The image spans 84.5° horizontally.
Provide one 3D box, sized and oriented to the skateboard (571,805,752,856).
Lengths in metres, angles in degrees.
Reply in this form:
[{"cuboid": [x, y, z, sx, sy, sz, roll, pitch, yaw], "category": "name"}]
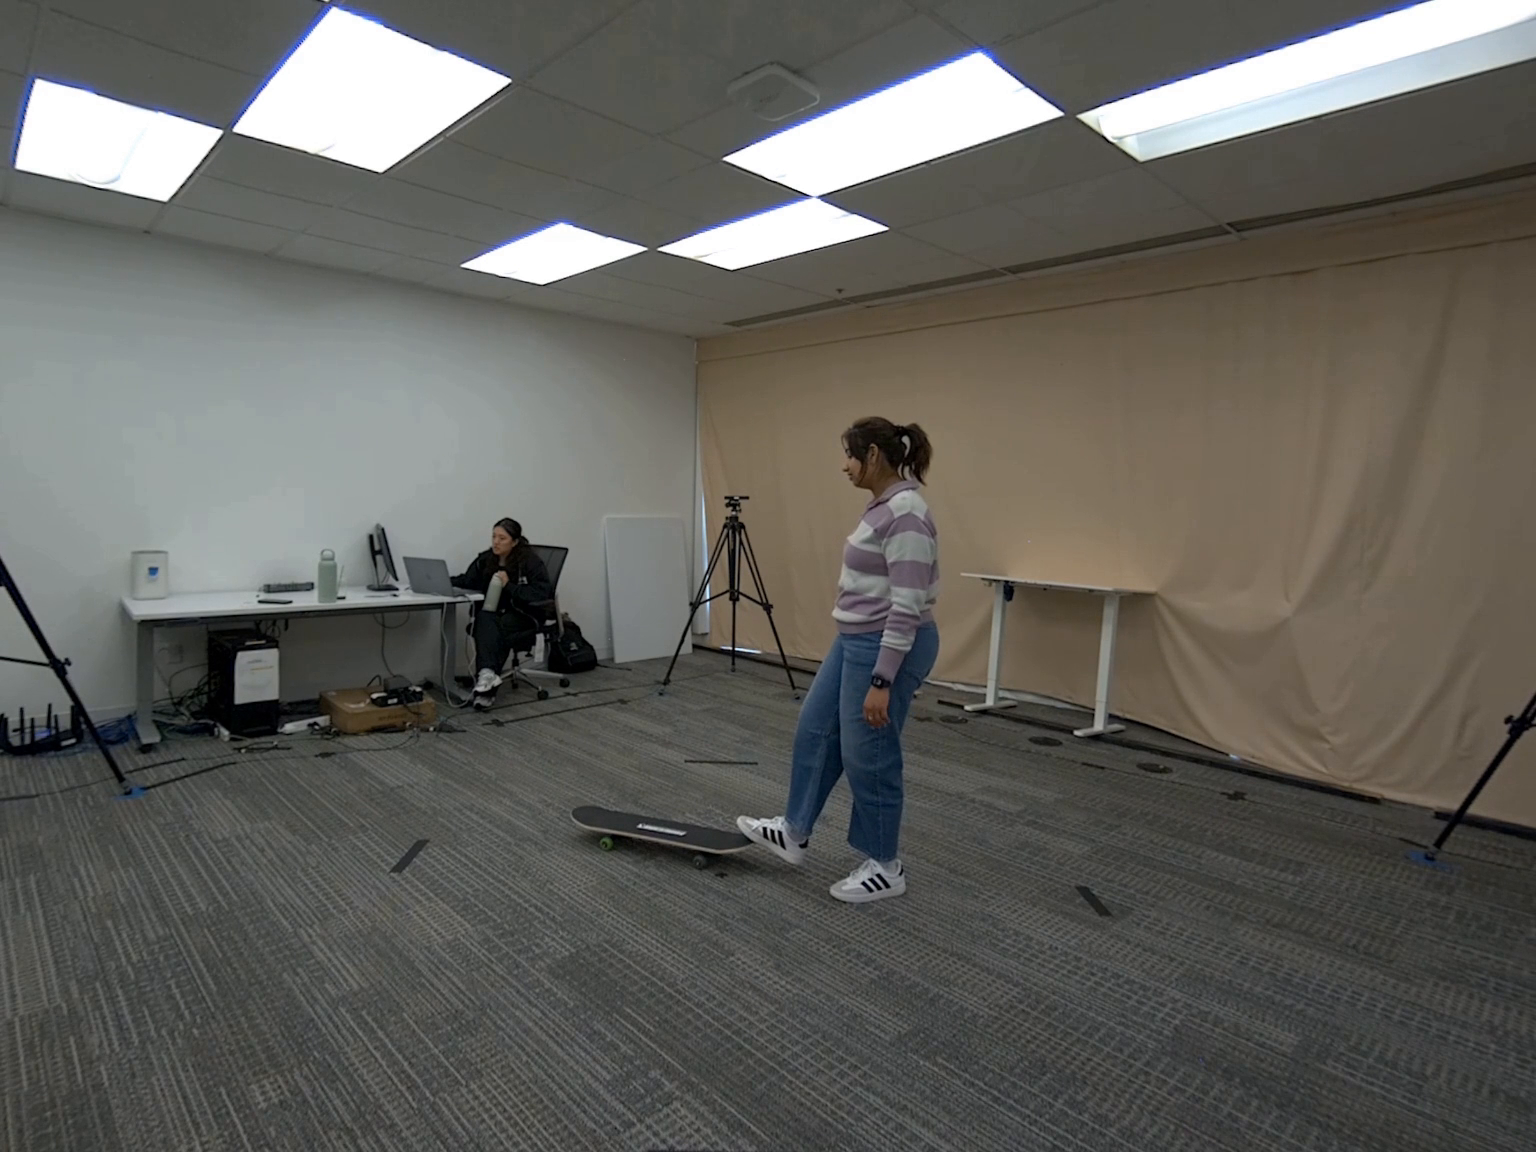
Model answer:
[{"cuboid": [-0.419, 1.015, 3.291, 0.799, 0.110, 0.190, 4, 4, 21], "category": "skateboard"}]
